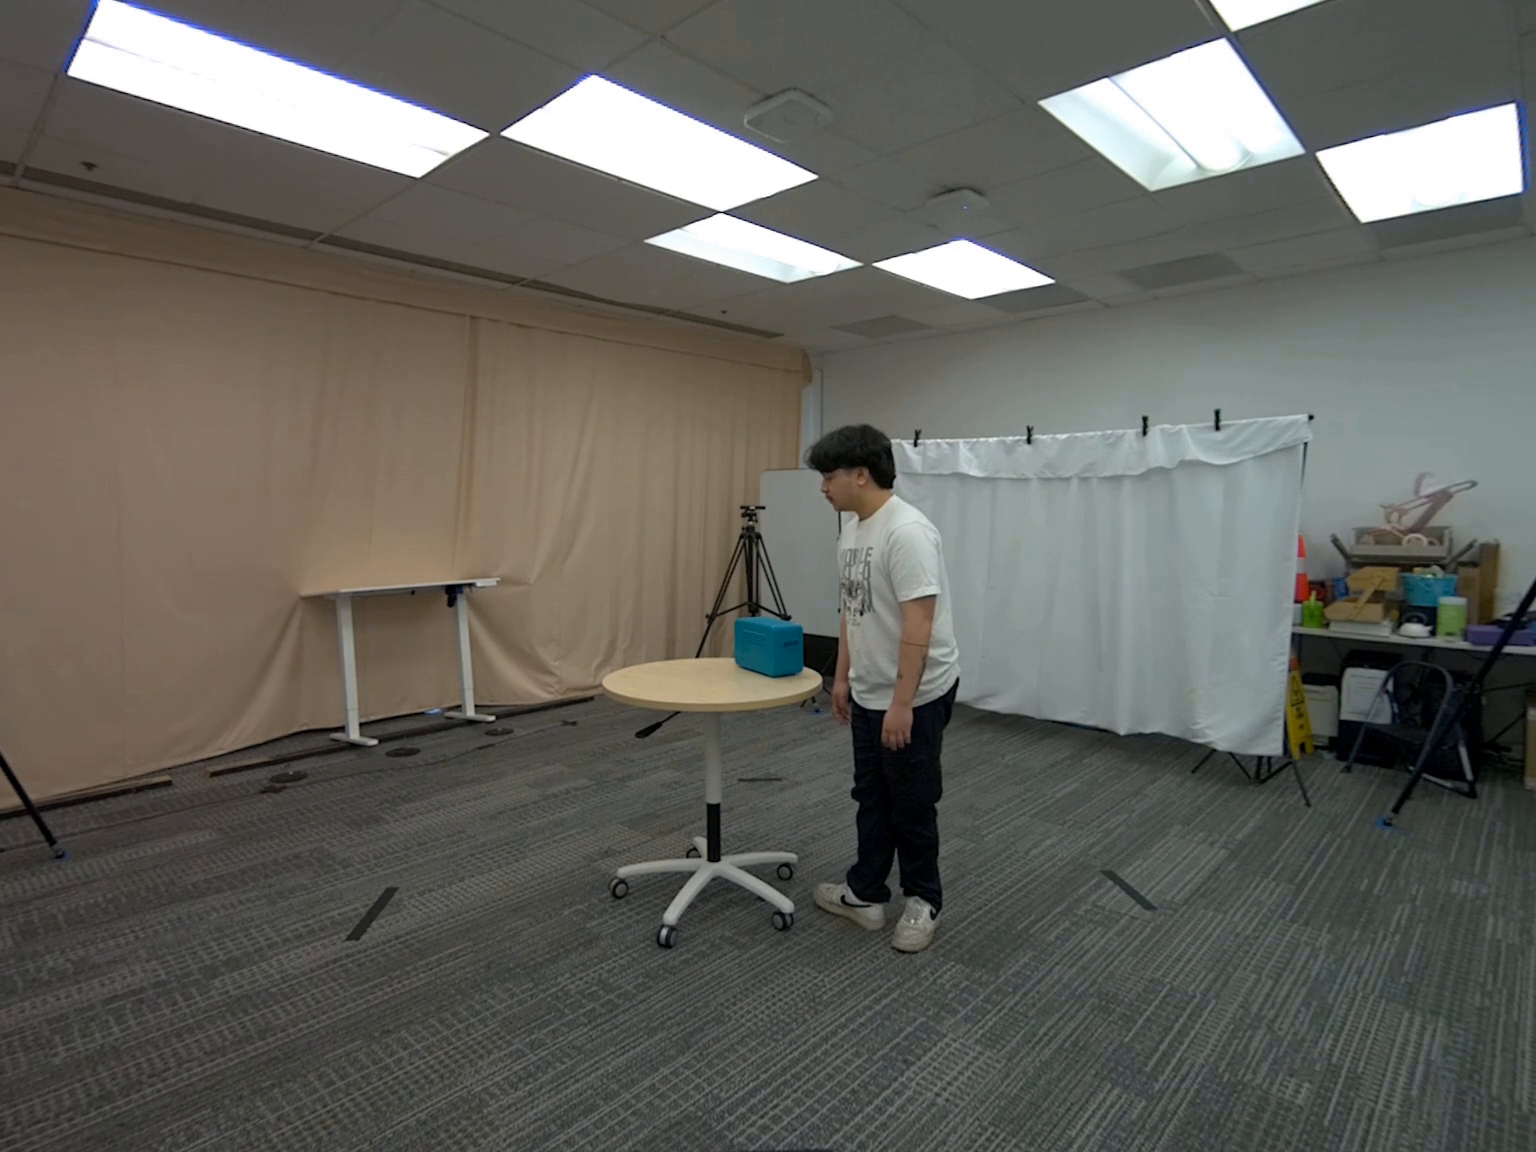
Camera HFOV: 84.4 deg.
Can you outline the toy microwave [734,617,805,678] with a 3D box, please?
[{"bbox_3d":[0.008,0.253,3.058,0.148,0.184,0.294,-2,5,-29],"label":"toy microwave"}]
